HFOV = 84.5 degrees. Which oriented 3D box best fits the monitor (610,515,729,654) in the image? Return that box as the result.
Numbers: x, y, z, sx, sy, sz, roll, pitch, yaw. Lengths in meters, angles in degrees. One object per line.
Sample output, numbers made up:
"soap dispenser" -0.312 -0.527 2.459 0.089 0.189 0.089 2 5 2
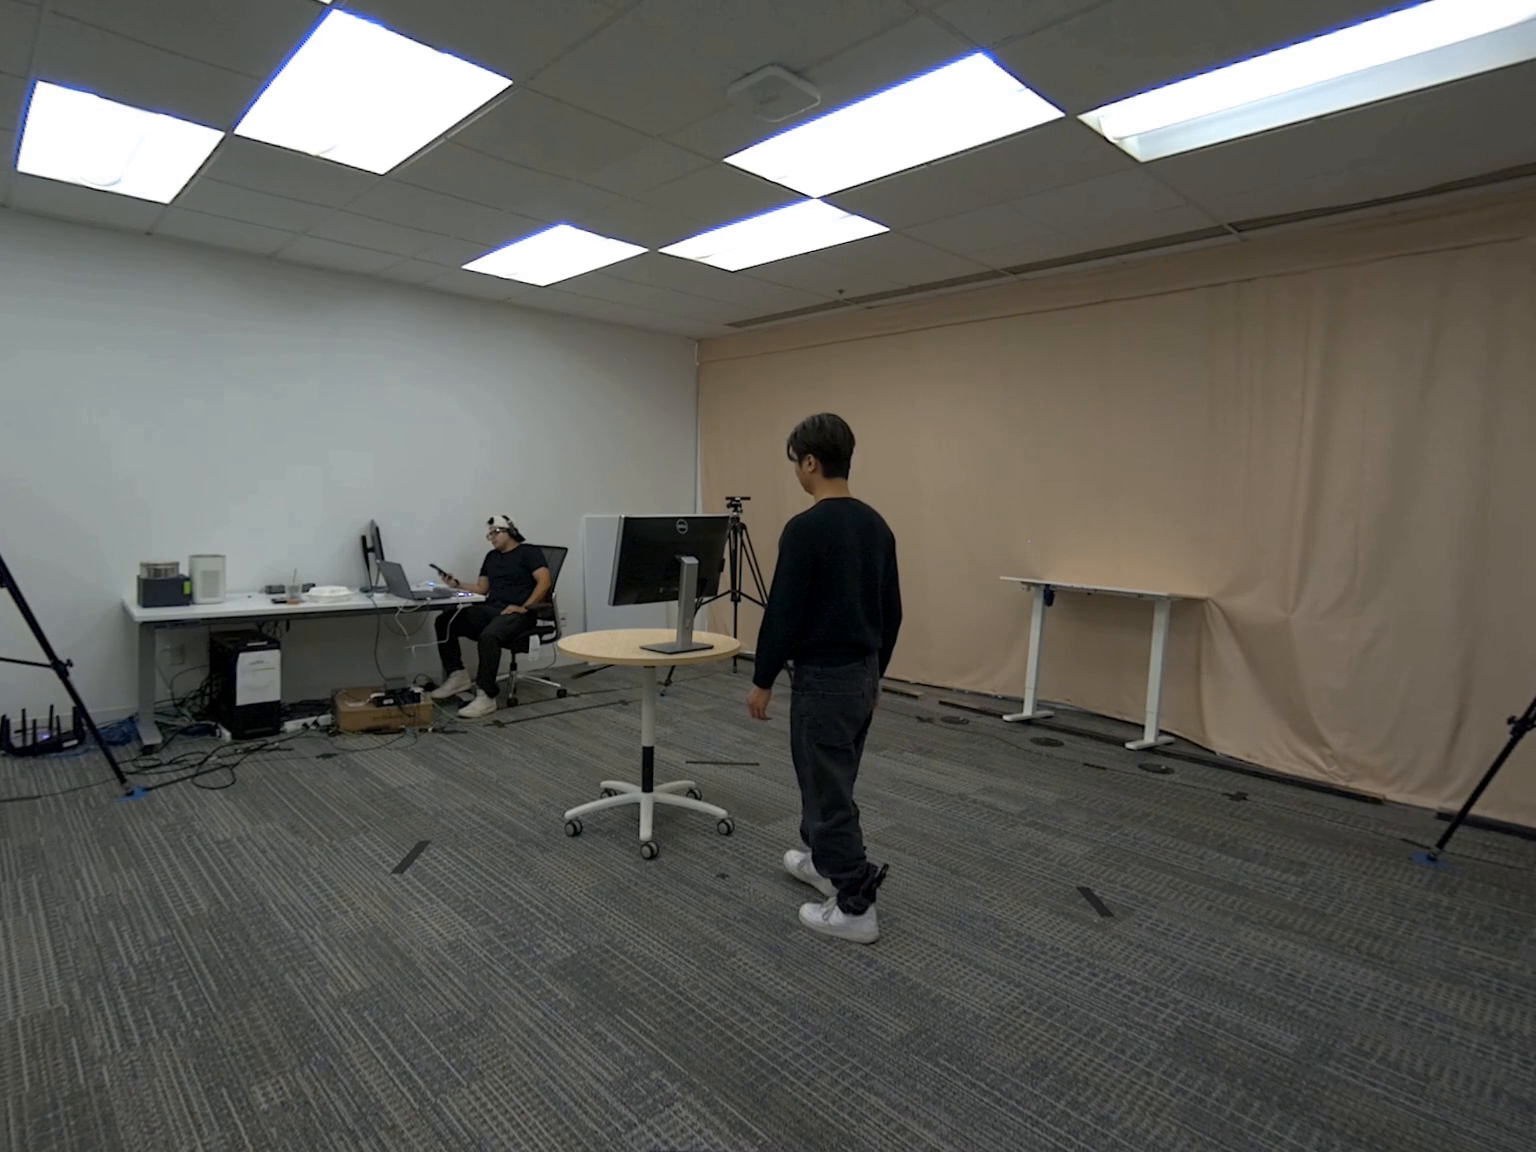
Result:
"monitor" -0.372 0.030 3.392 0.192 0.521 0.527 3 5 42
